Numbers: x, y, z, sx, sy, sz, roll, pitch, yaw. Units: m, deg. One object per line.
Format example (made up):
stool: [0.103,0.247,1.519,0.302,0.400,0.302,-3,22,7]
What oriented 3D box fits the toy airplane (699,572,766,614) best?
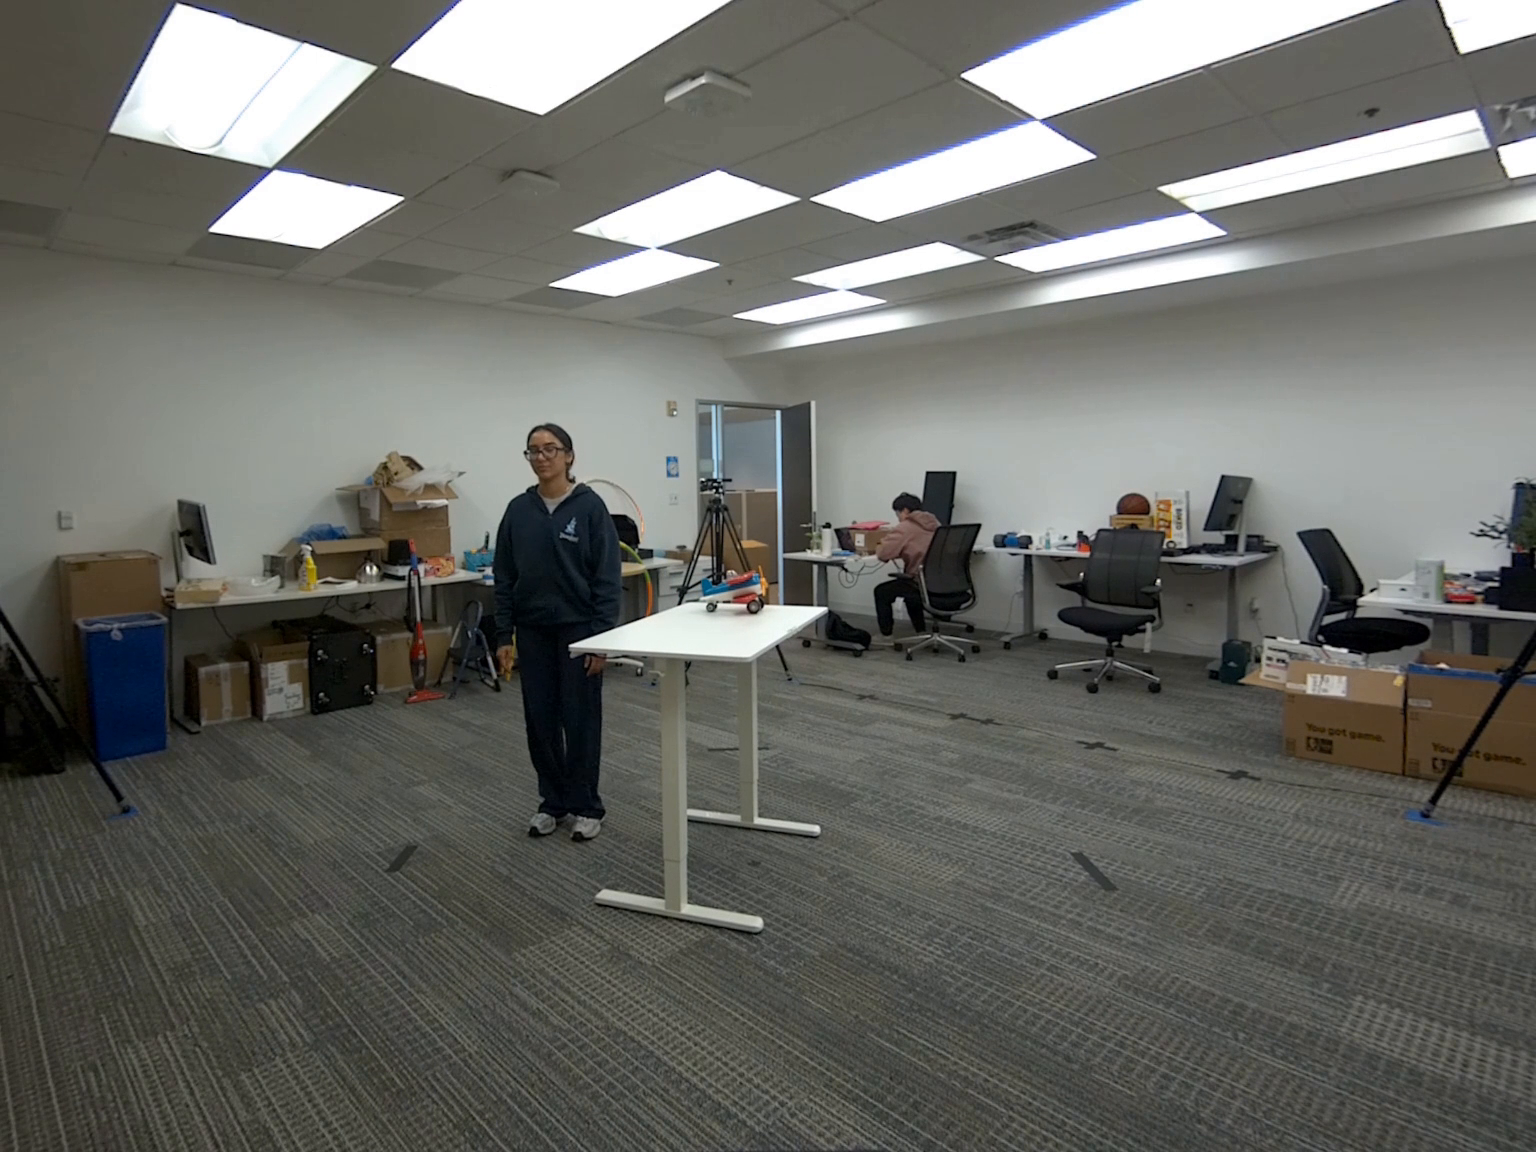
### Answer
toy airplane: [-0.134,0.068,3.301,0.256,0.155,0.256,-3,7,-14]
